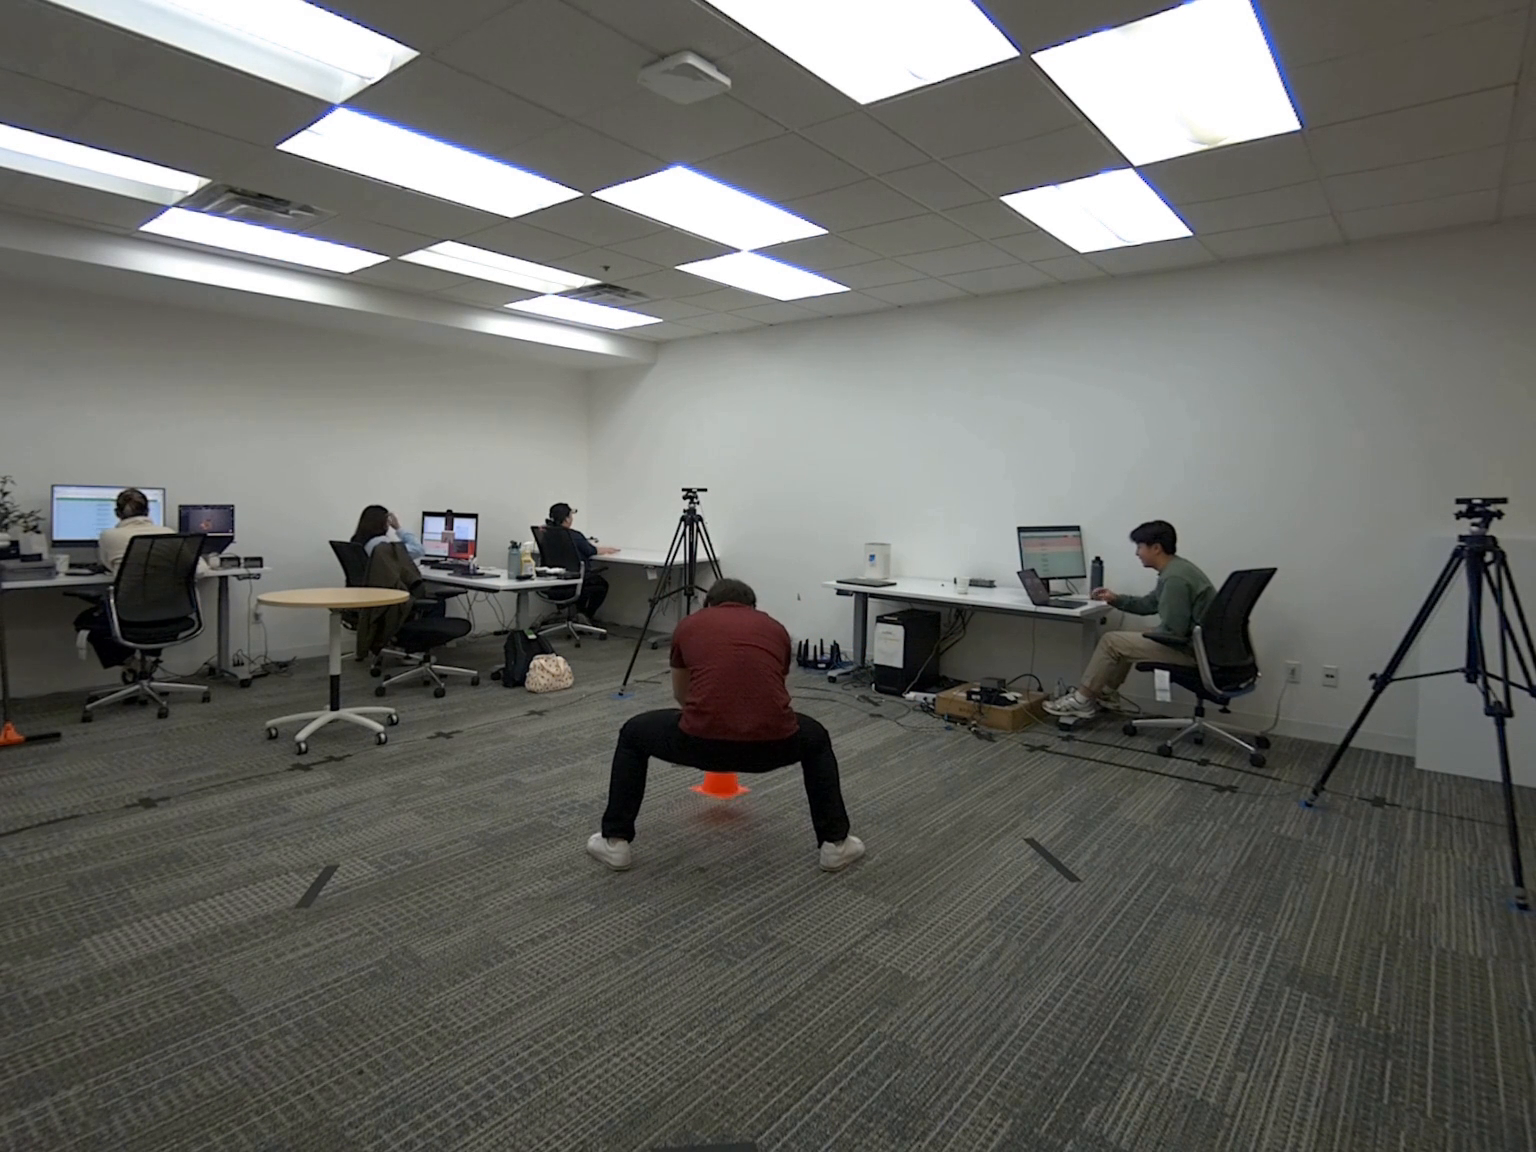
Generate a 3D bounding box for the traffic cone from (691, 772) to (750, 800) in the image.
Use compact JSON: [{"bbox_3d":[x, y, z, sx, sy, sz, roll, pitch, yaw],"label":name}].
[{"bbox_3d":[-0.208,0.721,3.661,0.196,0.384,0.212,3,-1,-44],"label":"traffic cone"}]
